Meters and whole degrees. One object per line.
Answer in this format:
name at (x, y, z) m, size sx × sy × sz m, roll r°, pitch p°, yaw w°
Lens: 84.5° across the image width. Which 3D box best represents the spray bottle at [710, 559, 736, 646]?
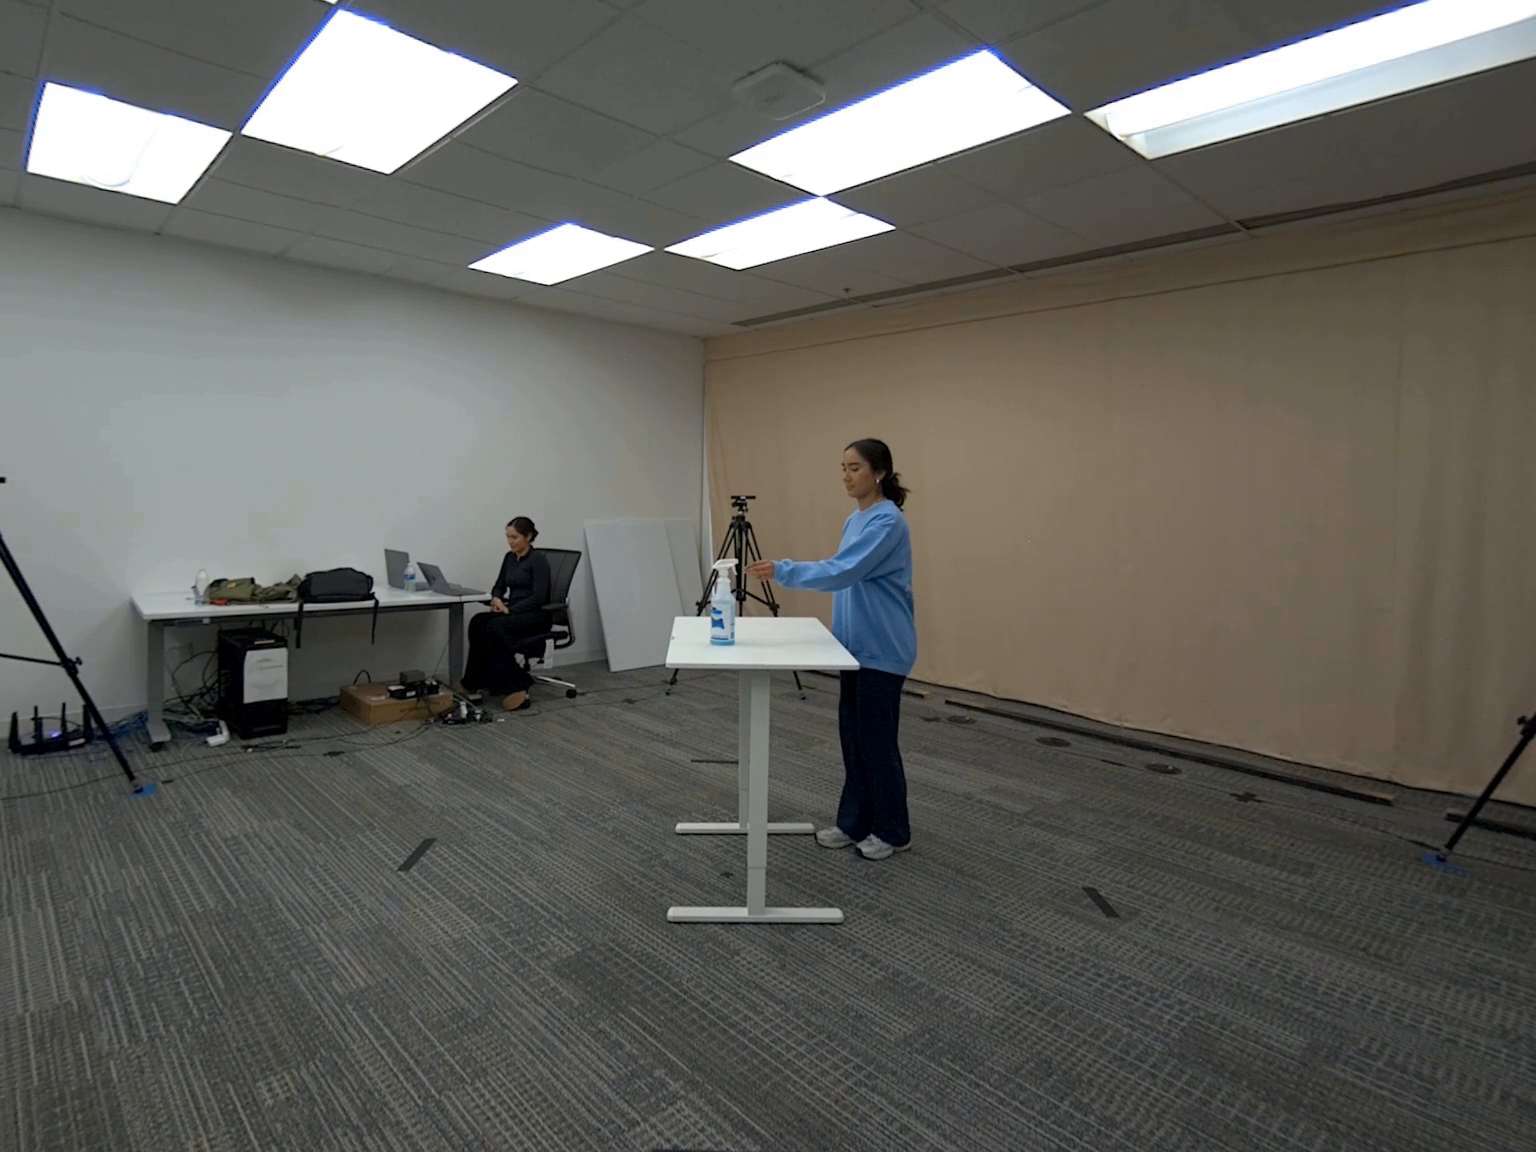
spray bottle at (-0.159, 0.093, 2.927) m, size 0.090 × 0.297 × 0.087 m, roll 2°, pitch 2°, yaw 3°
